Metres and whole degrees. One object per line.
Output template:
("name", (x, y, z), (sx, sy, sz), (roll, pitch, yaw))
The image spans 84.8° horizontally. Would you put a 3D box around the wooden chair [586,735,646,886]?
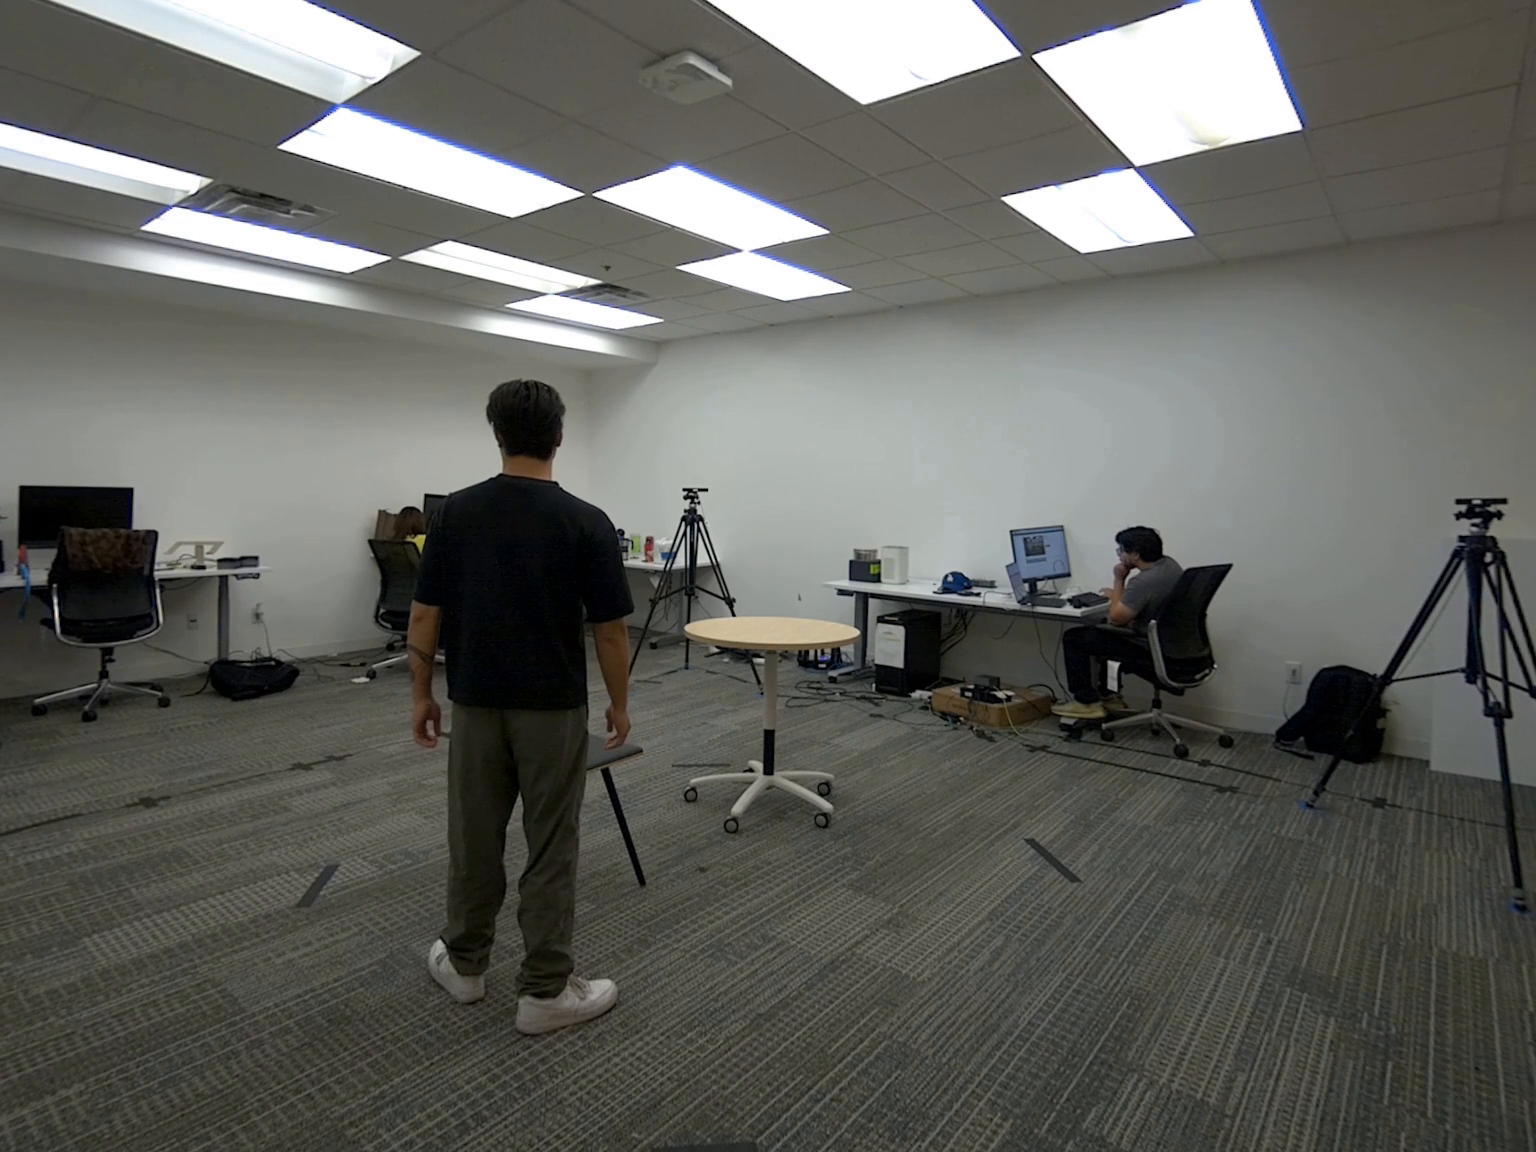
("wooden chair", (-0.736, 0.647, 2.916), (0.494, 0.872, 0.510), (3, 8, 37))
